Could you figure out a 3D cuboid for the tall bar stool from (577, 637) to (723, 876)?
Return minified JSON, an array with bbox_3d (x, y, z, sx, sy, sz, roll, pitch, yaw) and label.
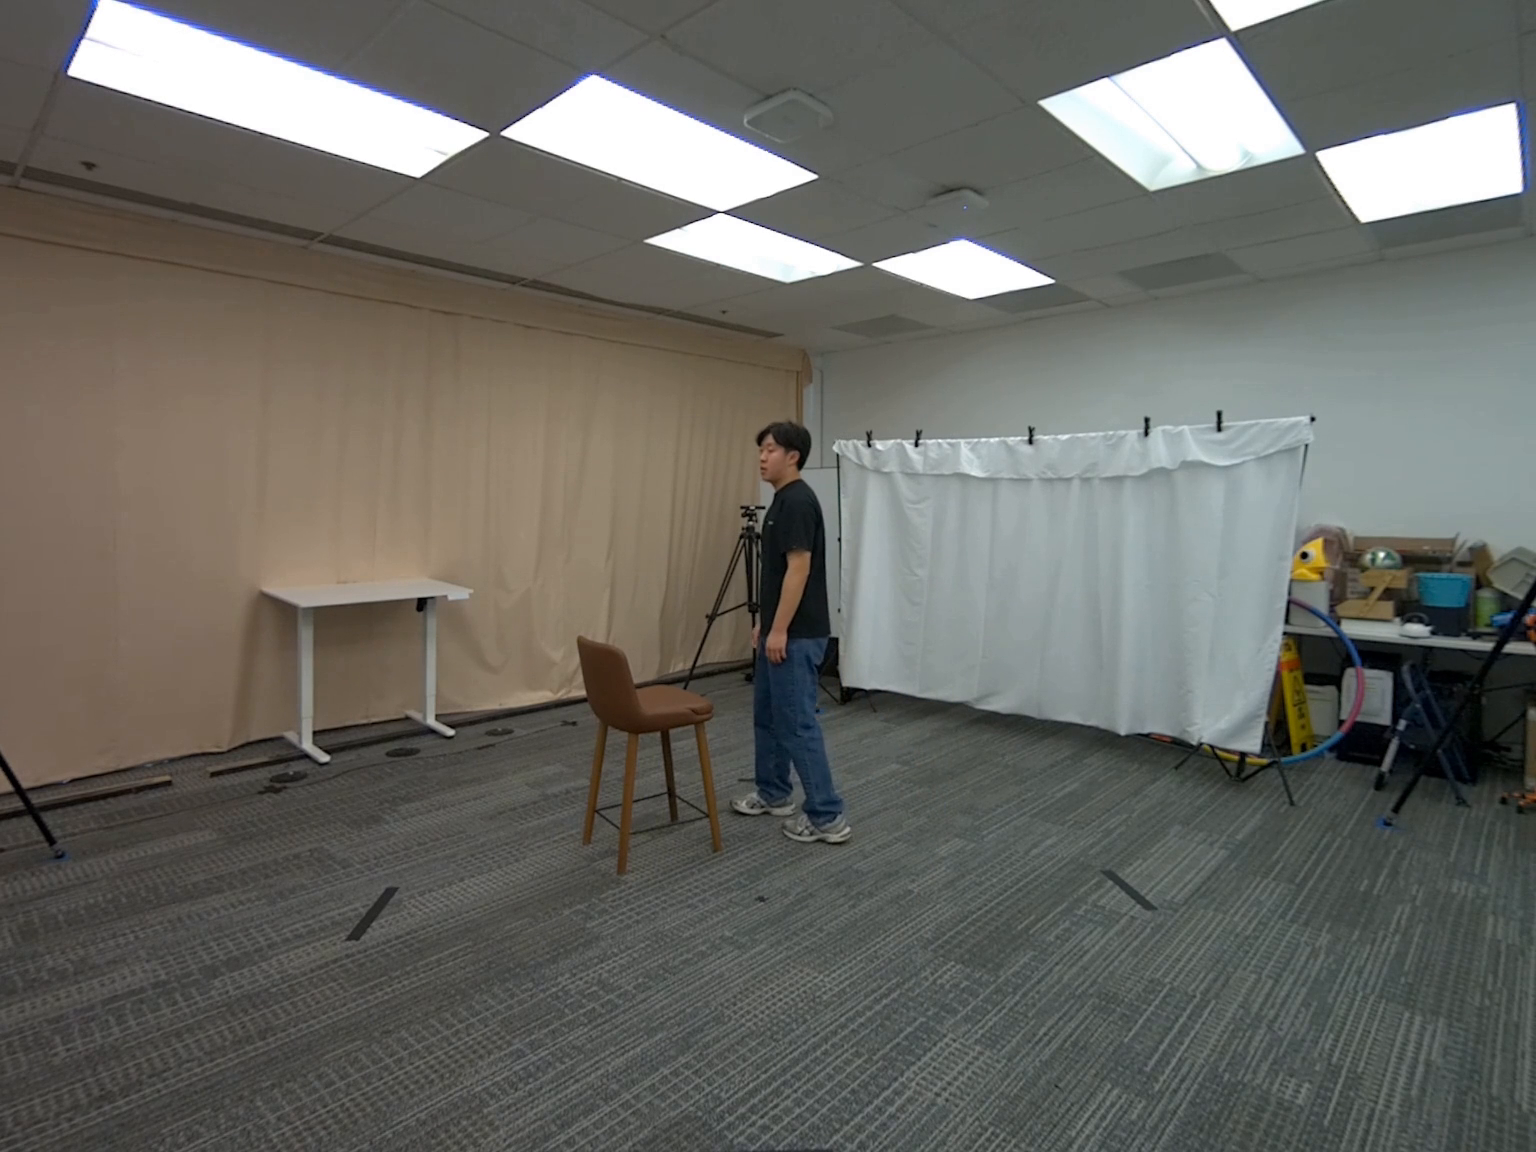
[{"bbox_3d":[-0.481,0.673,3.430,0.455,0.887,0.470,-5,5,-32],"label":"tall bar stool"}]
